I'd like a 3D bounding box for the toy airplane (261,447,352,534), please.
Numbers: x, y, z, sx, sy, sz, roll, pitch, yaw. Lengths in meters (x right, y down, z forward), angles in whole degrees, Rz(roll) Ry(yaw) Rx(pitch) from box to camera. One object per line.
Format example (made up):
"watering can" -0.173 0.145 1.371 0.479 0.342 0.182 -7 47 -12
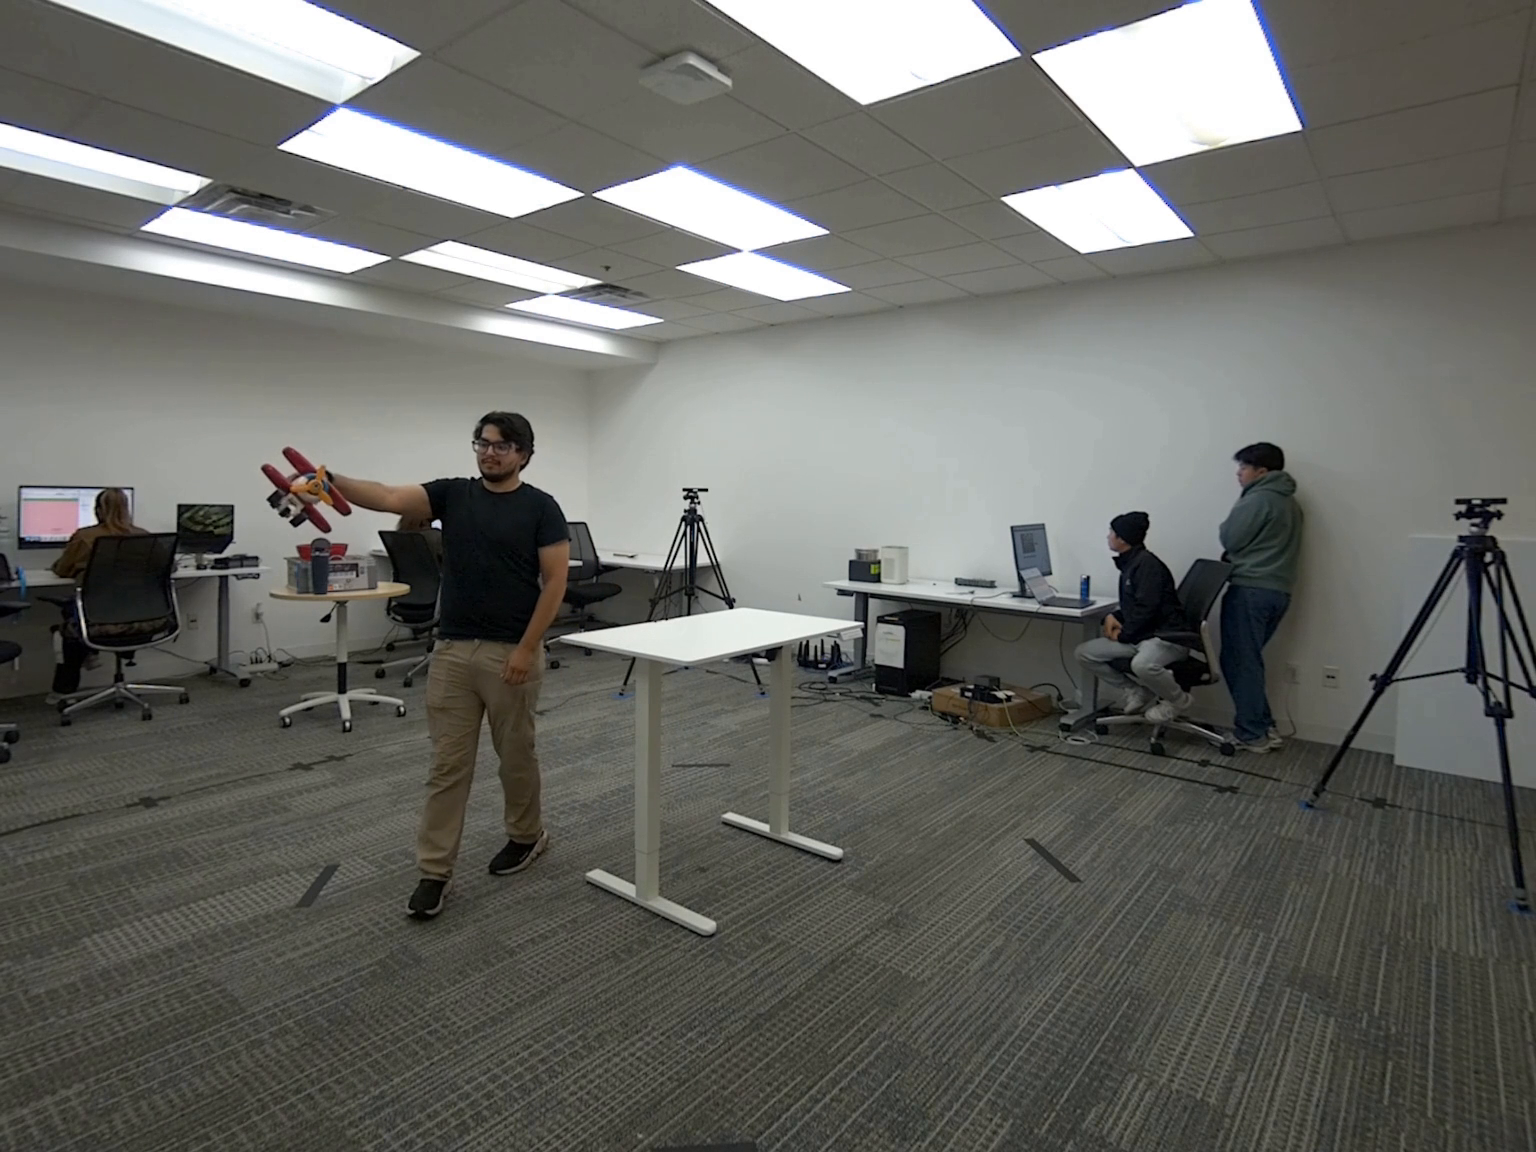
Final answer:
"toy airplane" -1.388 -0.254 2.466 0.269 0.156 0.242 31 -25 33
